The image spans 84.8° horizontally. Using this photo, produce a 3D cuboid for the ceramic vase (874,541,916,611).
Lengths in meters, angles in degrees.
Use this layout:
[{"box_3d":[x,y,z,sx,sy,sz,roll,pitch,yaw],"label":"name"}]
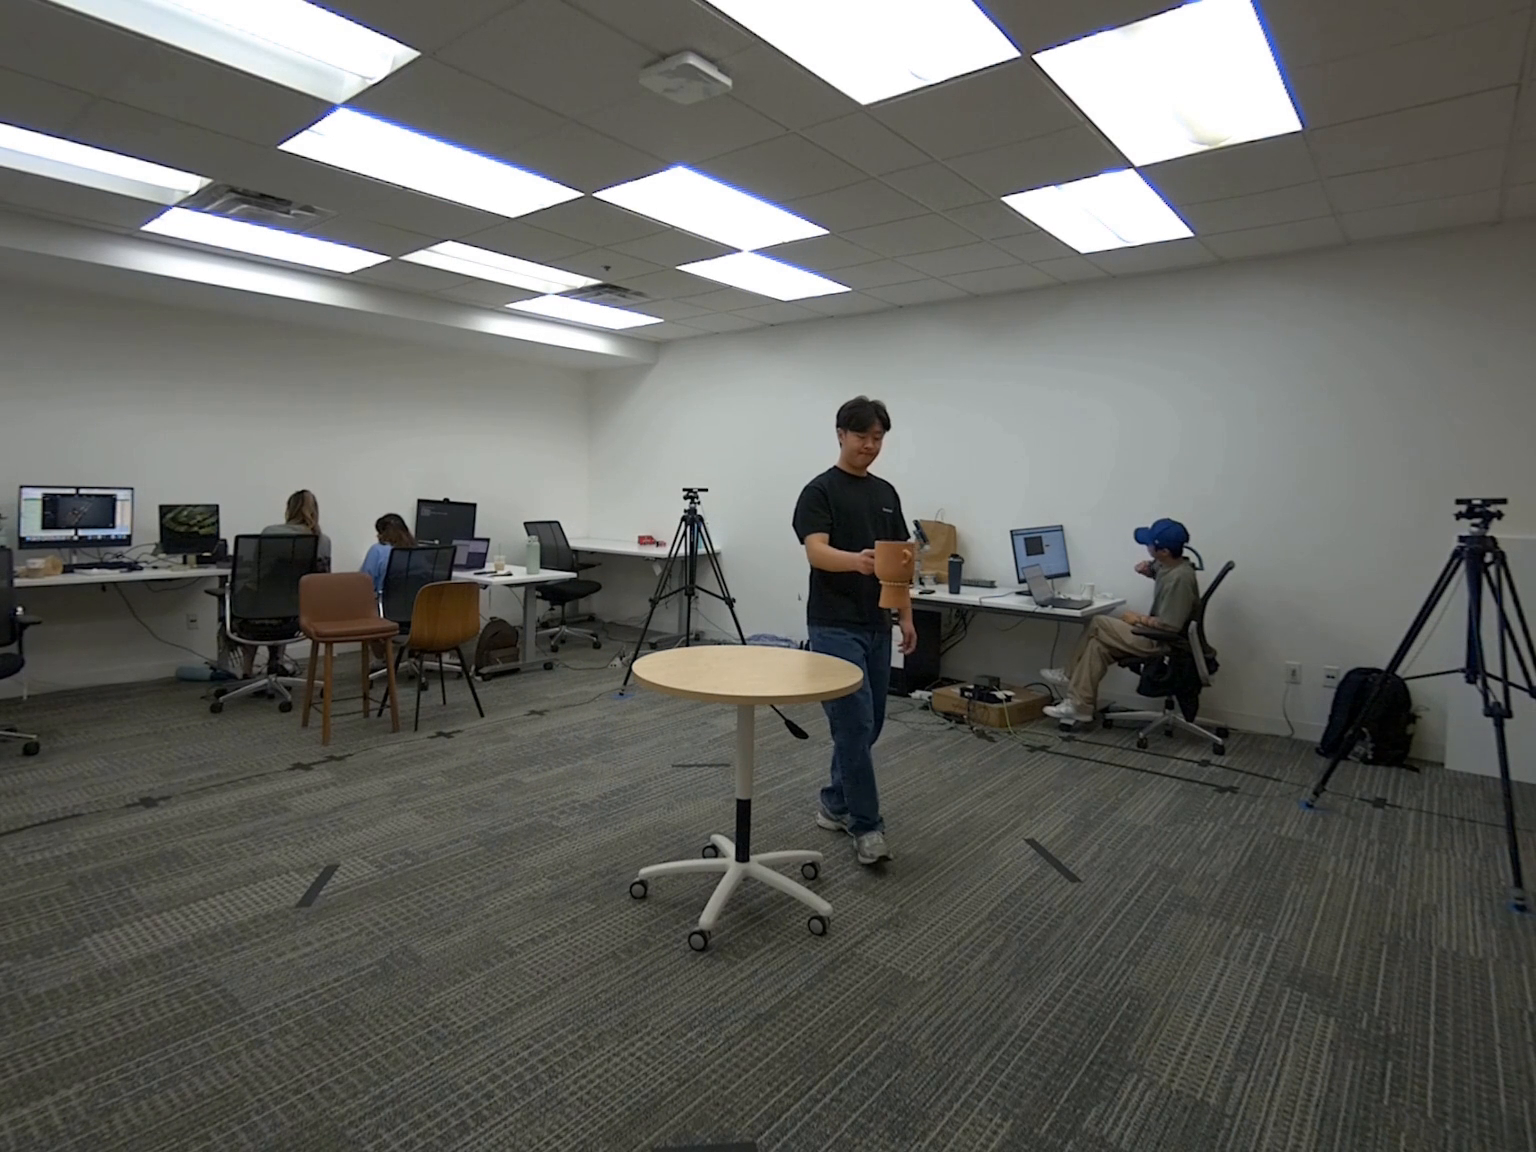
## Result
[{"box_3d":[0.416,-0.009,2.852,0.131,0.219,0.163,0,5,-28],"label":"ceramic vase"}]
